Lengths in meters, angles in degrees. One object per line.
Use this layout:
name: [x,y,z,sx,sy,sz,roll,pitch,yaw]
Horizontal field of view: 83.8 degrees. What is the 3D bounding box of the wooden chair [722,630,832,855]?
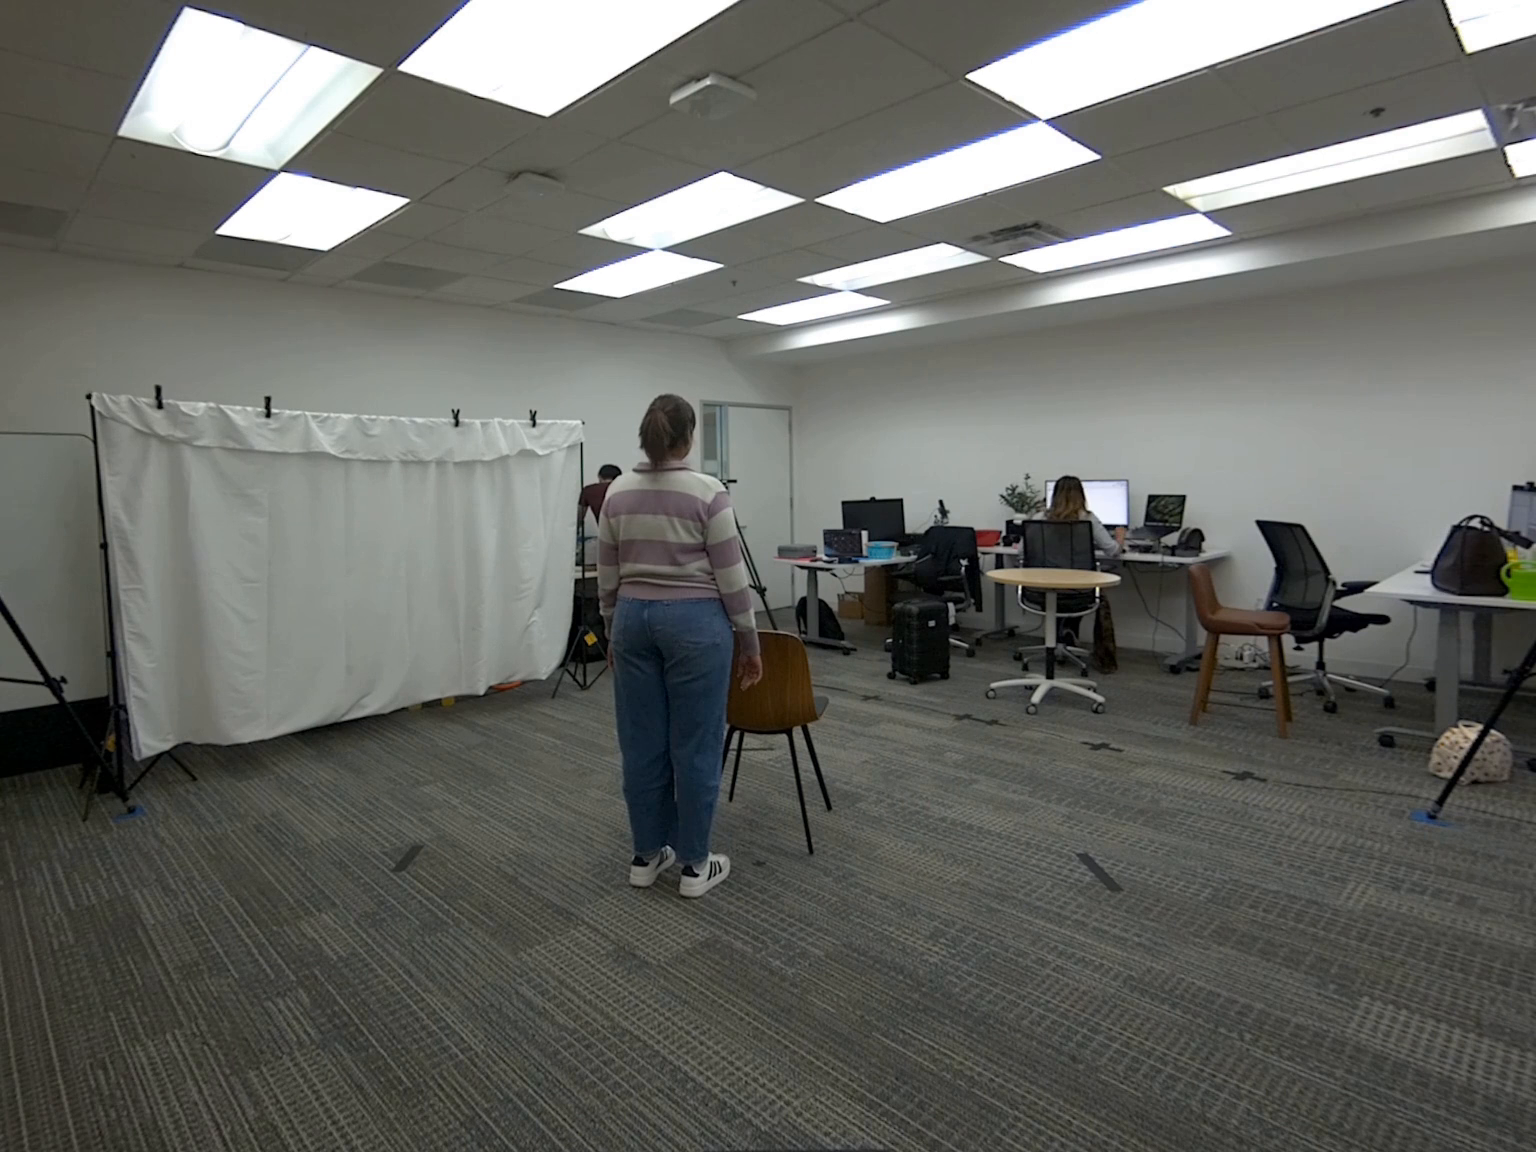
wooden chair: [0.000,0.585,3.430,0.485,0.871,0.519,0,8,15]
